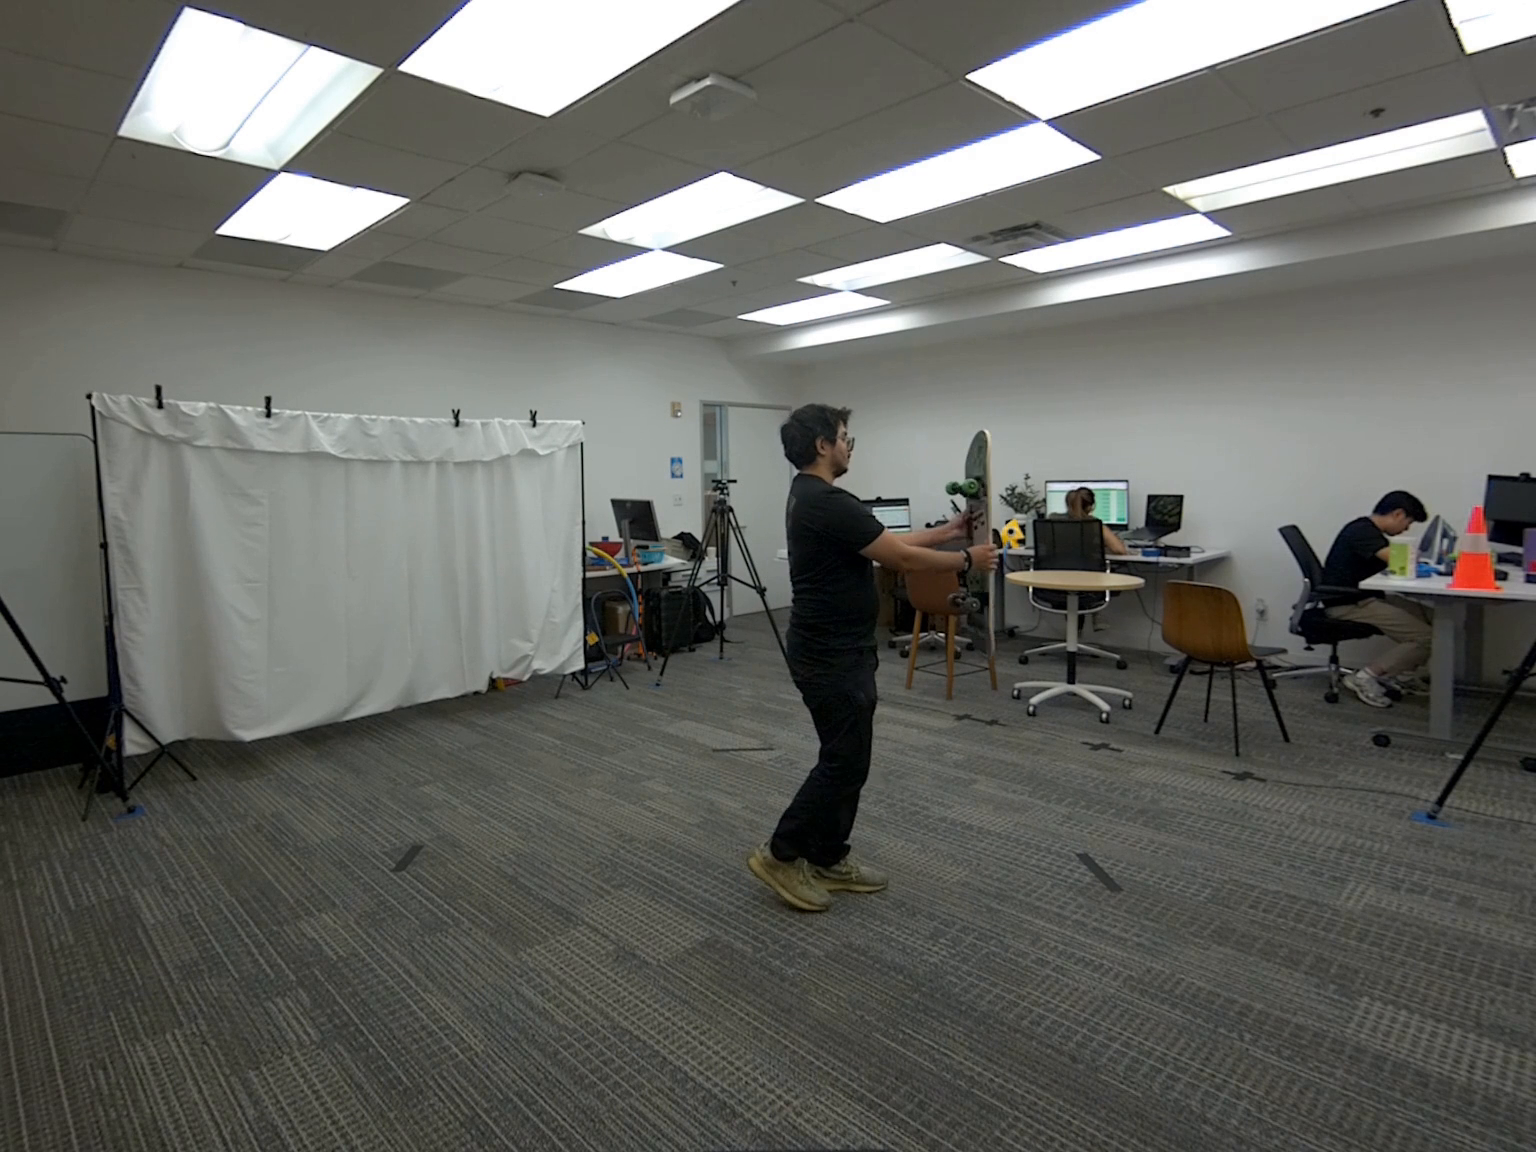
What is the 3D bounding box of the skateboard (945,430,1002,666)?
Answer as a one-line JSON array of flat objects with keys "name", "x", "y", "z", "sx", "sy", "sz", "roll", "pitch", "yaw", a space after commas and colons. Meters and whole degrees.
[{"name": "skateboard", "x": 0.703, "y": -0.105, "z": 2.933, "sx": 0.109, "sy": 0.785, "sz": 0.195, "roll": -1, "pitch": 1, "yaw": -8}]
